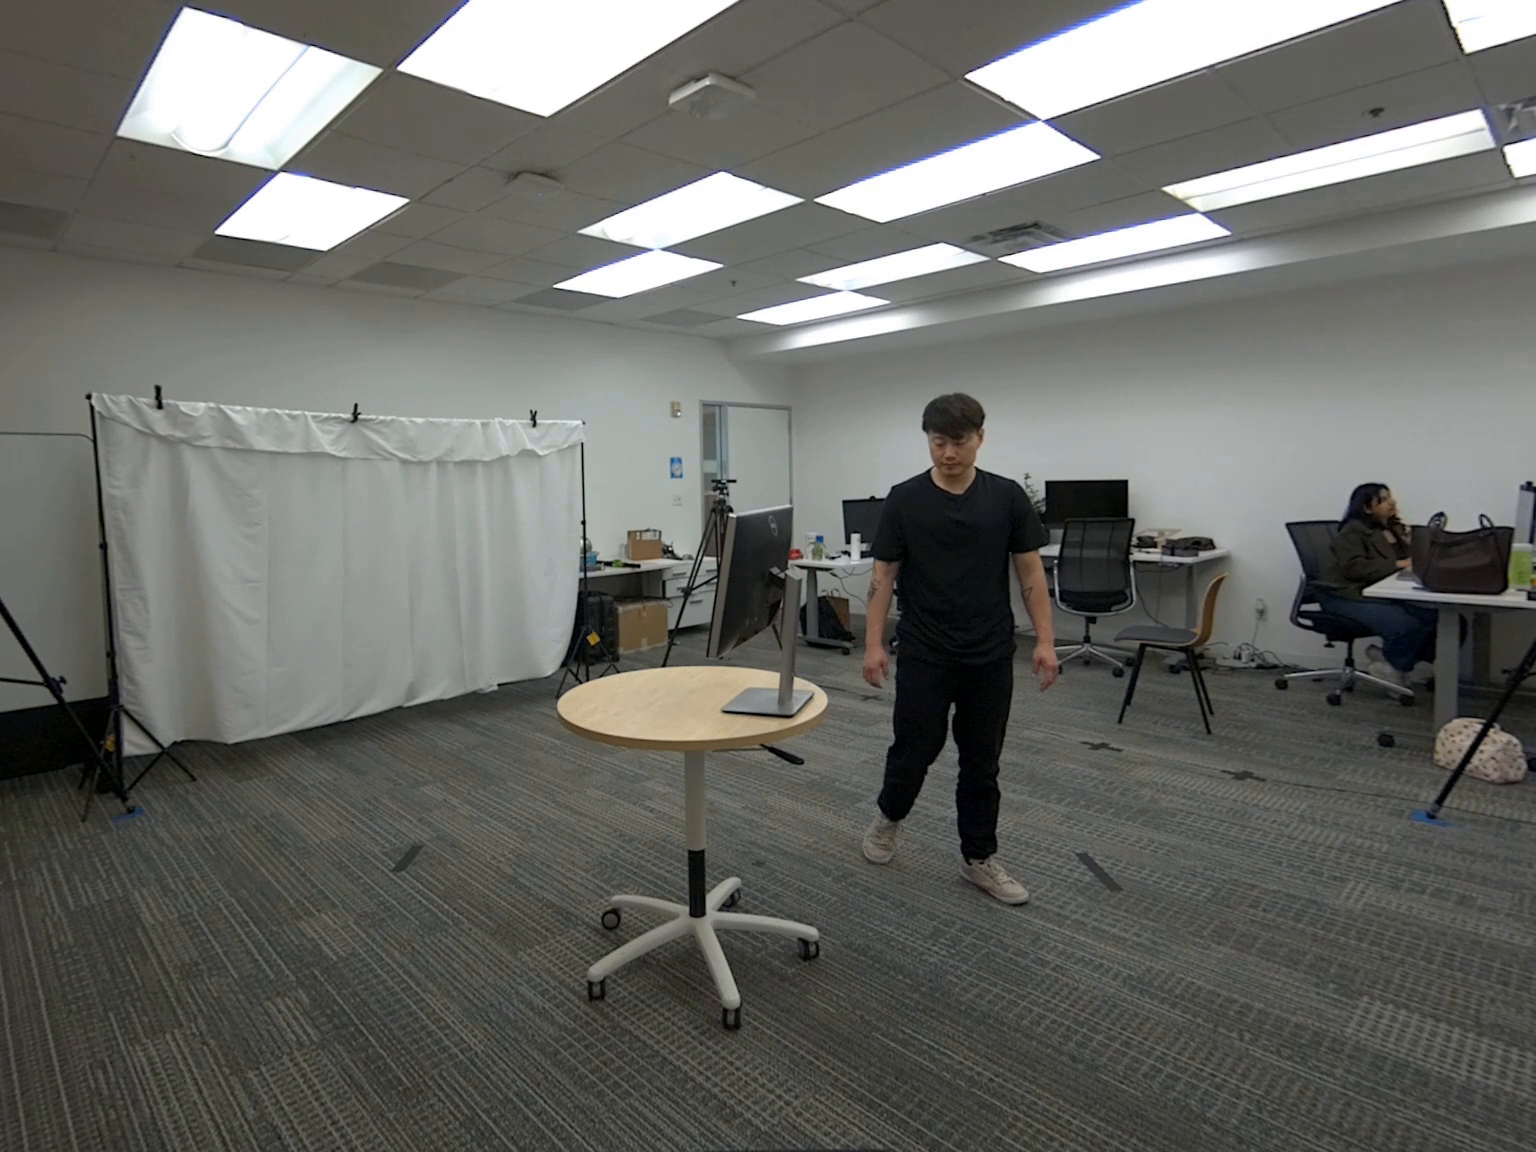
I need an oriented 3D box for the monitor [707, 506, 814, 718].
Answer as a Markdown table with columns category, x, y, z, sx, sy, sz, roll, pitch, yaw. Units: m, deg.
| category | x | y | z | sx | sy | sz | roll | pitch | yaw |
| --- | --- | --- | --- | --- | --- | --- | --- | --- | --- |
| monitor | 0.004 | 0.089 | 2.345 | 0.190 | 0.520 | 0.533 | -1 | 6 | 15 |
